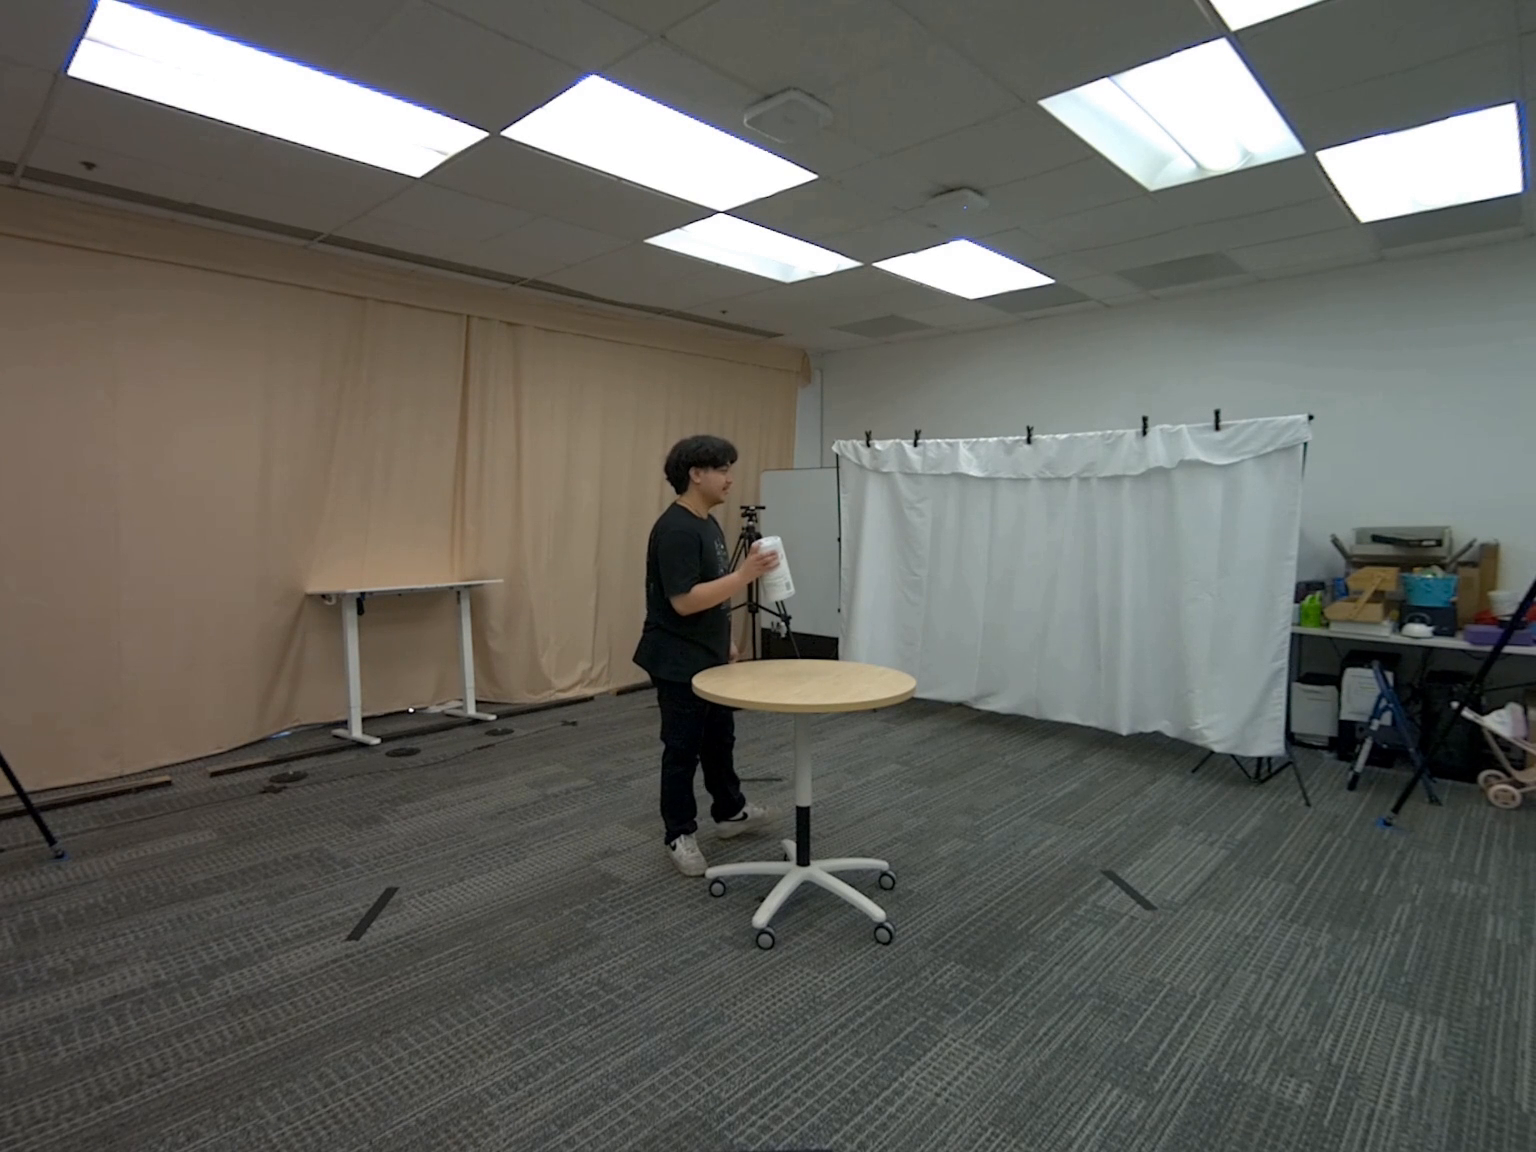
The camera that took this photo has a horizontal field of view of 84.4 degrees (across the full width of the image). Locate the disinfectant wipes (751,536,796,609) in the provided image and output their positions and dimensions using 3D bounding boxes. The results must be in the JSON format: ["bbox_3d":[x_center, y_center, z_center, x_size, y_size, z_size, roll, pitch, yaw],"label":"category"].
[{"bbox_3d":[0.022,-0.026,3.025,0.118,0.215,0.119,-12,12,1],"label":"disinfectant wipes"}]
